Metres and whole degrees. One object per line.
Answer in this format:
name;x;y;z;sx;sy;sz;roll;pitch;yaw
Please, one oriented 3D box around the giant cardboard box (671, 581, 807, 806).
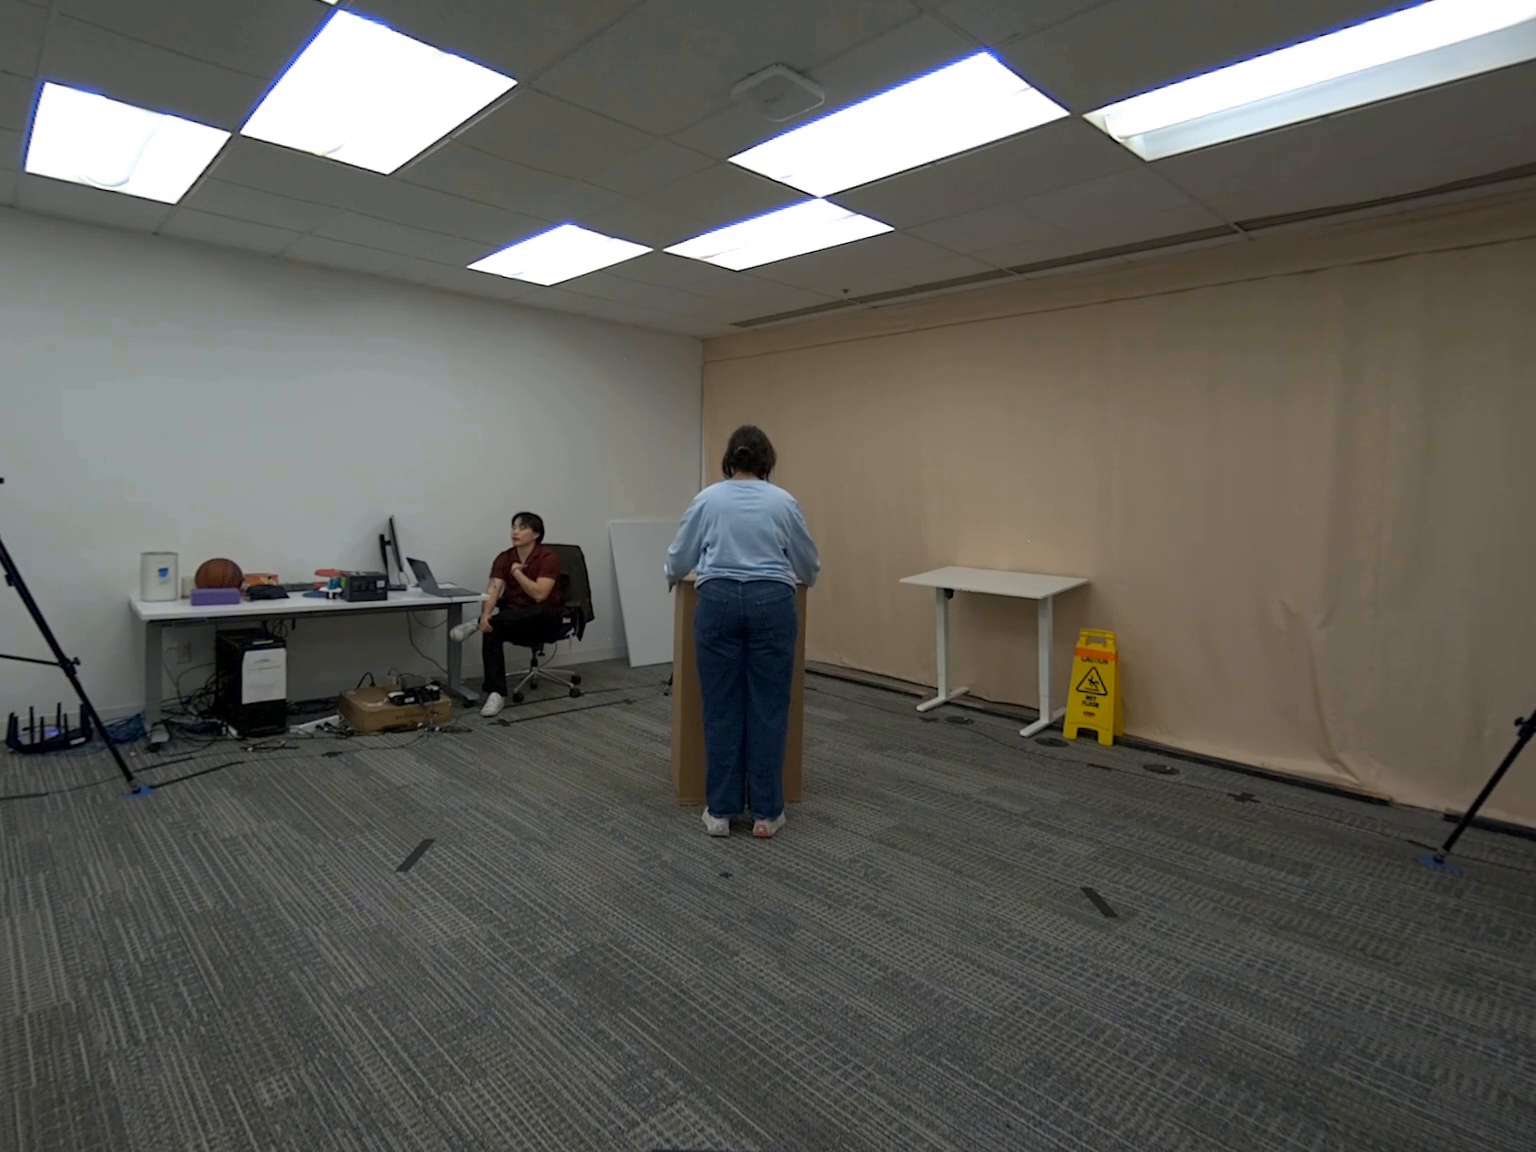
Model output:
giant cardboard box;-0.156;0.517;4.037;0.573;1.023;0.430;1;3;-10
